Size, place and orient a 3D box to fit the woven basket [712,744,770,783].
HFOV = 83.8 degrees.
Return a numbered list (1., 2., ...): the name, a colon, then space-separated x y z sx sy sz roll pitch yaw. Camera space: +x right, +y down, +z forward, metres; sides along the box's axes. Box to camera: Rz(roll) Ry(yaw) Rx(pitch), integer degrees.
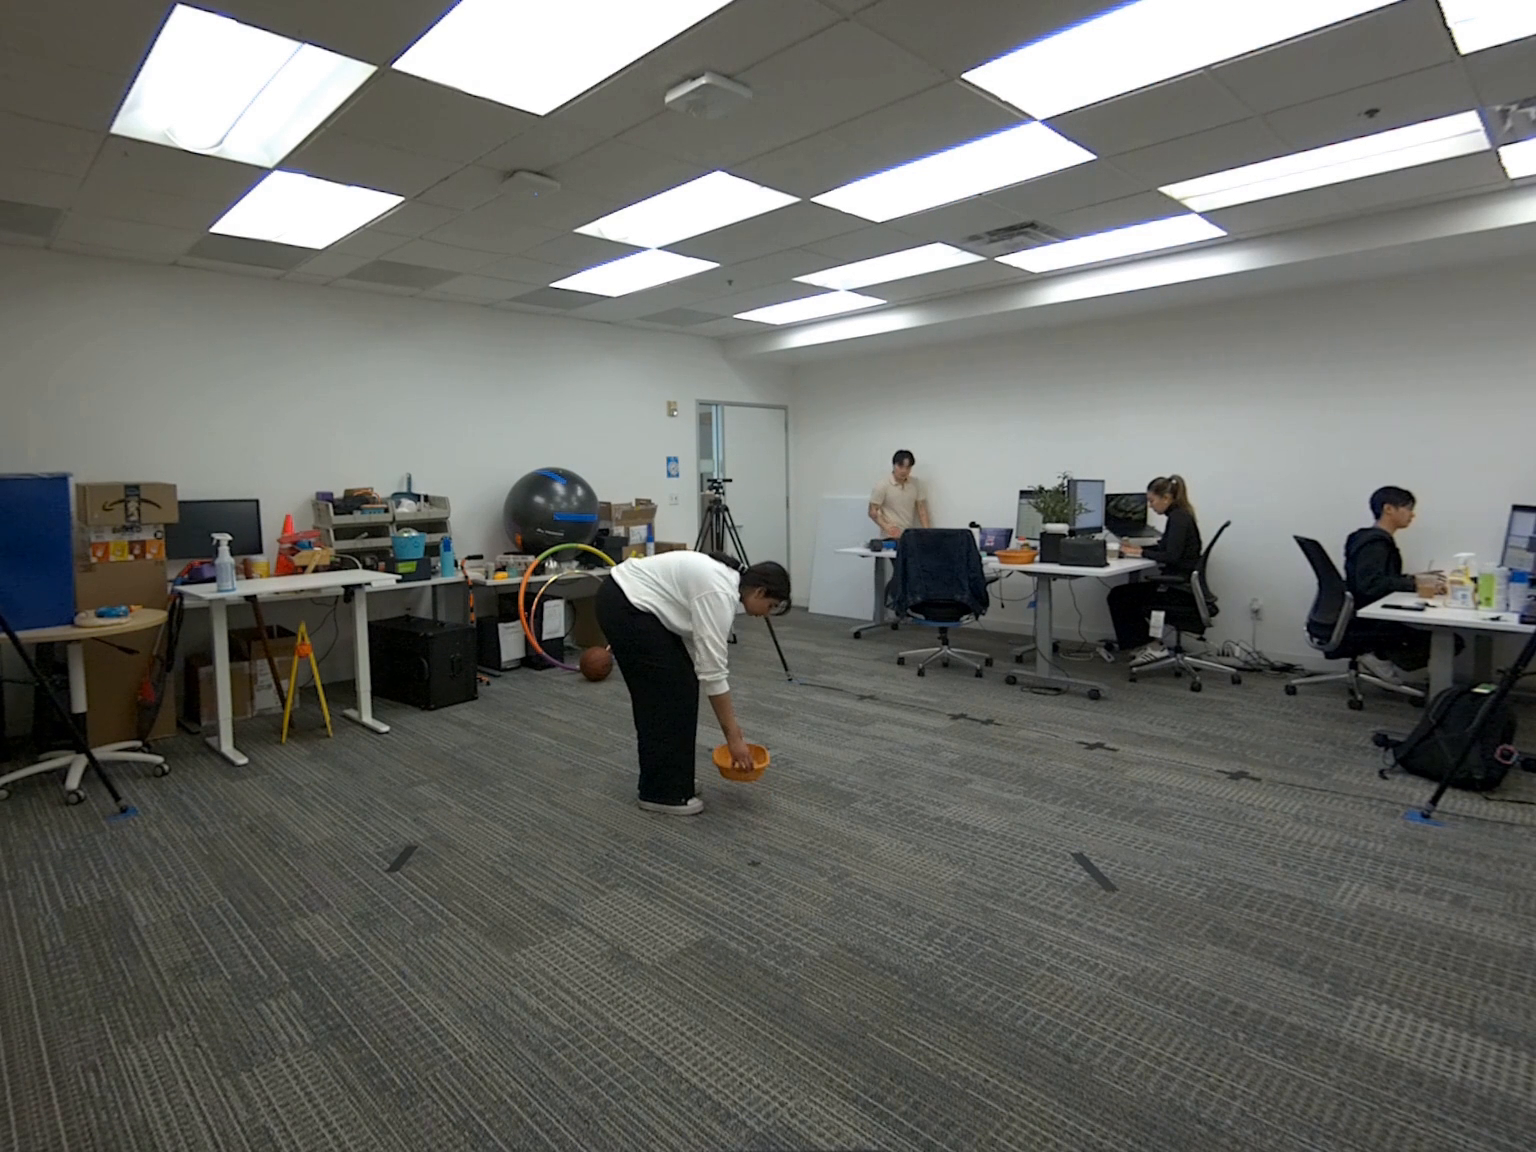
1. woven basket: -0.124 0.801 3.704 0.253 0.073 0.351 0 7 3
